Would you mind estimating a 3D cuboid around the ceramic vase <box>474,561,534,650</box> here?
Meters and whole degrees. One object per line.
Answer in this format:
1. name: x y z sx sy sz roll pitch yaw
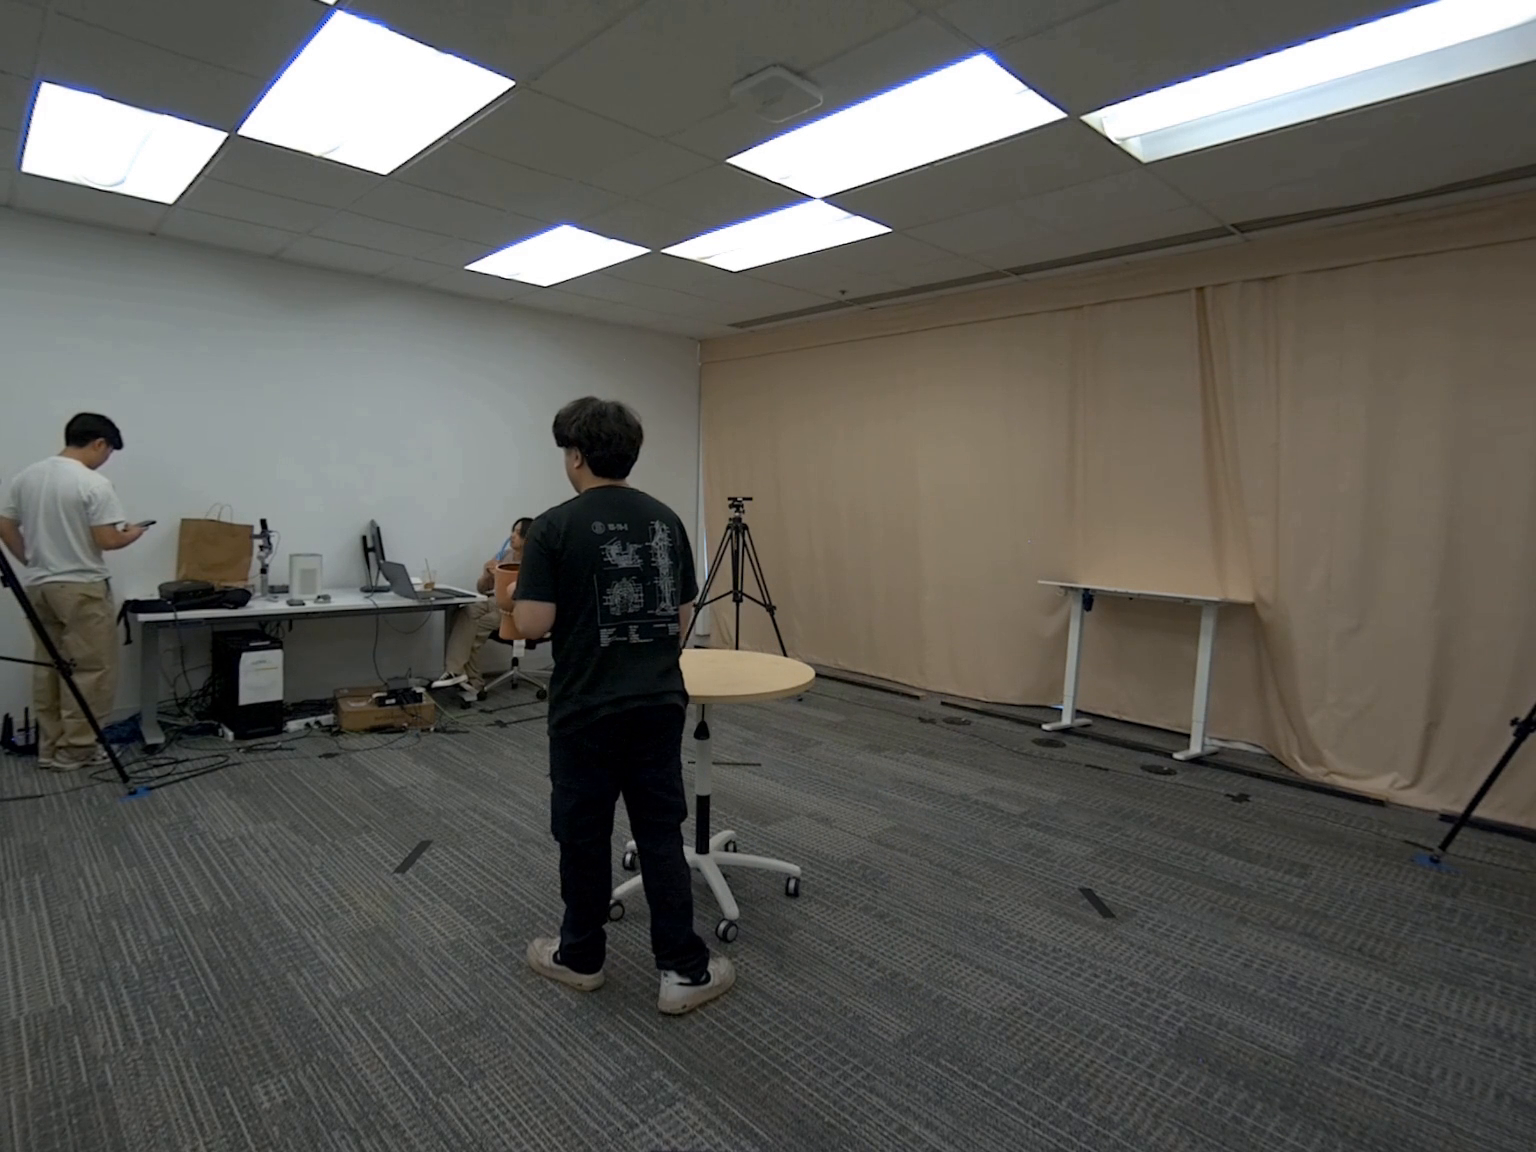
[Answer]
1. ceramic vase: -0.790 0.086 2.588 0.137 0.218 0.157 9 11 17
